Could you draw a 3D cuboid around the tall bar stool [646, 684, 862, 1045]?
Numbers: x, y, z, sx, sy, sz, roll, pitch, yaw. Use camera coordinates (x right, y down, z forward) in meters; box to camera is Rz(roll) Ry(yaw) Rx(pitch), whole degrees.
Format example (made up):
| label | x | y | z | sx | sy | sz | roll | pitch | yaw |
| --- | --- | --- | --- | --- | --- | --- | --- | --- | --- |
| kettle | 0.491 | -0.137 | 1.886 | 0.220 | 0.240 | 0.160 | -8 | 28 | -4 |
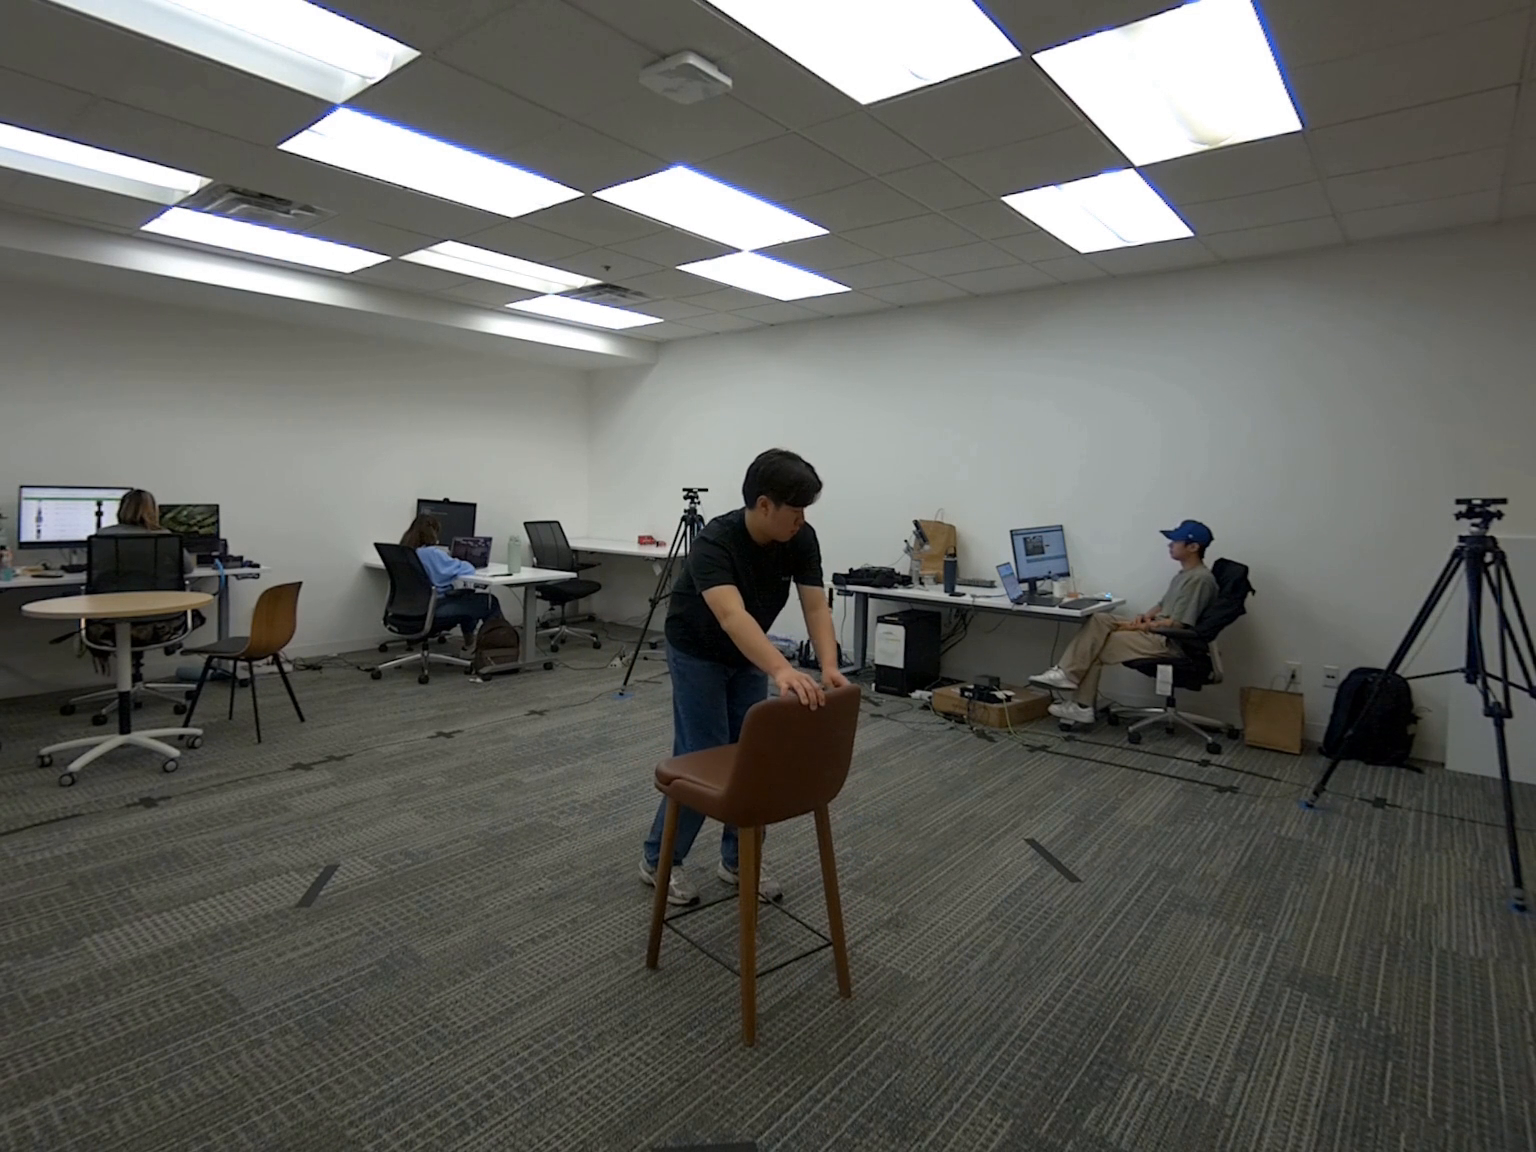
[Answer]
| label | x | y | z | sx | sy | sz | roll | pitch | yaw |
| --- | --- | --- | --- | --- | --- | --- | --- | --- | --- |
| tall bar stool | -0.039 | 0.705 | 2.385 | 0.443 | 0.886 | 0.484 | -2 | 7 | -40 |
